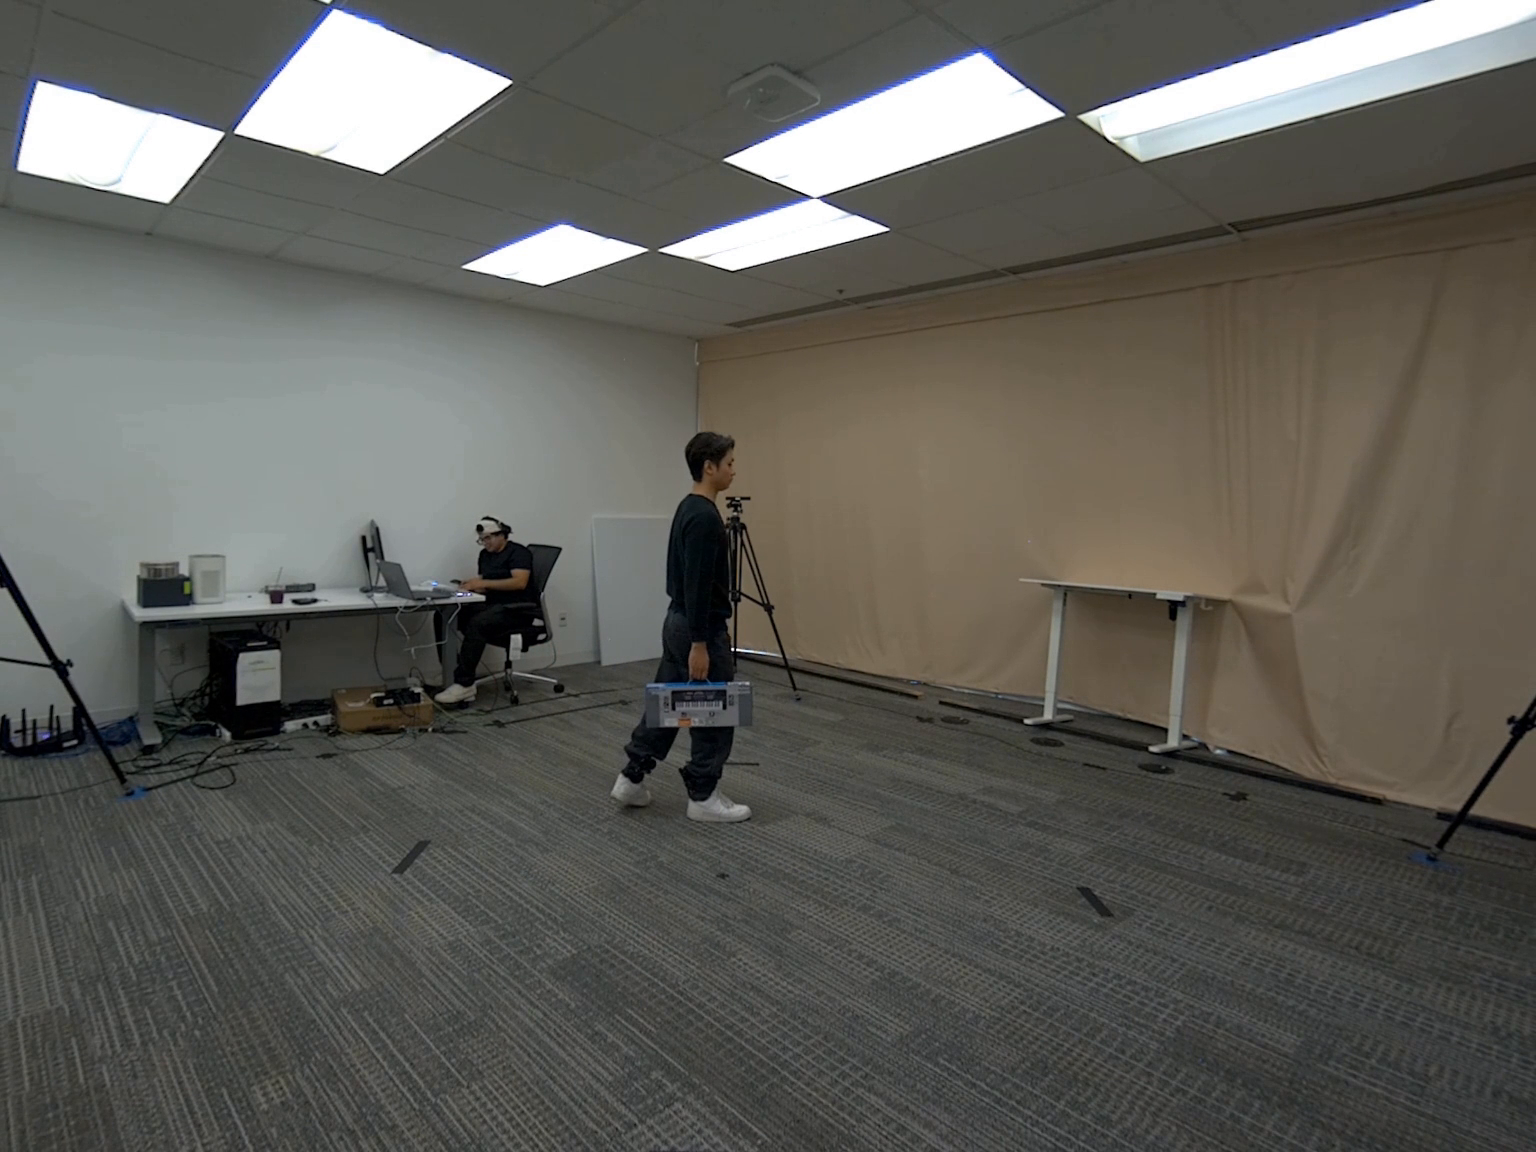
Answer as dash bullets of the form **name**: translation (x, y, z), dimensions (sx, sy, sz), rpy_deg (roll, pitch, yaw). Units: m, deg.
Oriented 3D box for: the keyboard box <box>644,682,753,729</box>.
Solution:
- **keyboard box**: translation (-0.302, 0.526, 3.467), dimensions (0.437, 0.175, 0.059), rpy_deg (-1, 5, 0)
